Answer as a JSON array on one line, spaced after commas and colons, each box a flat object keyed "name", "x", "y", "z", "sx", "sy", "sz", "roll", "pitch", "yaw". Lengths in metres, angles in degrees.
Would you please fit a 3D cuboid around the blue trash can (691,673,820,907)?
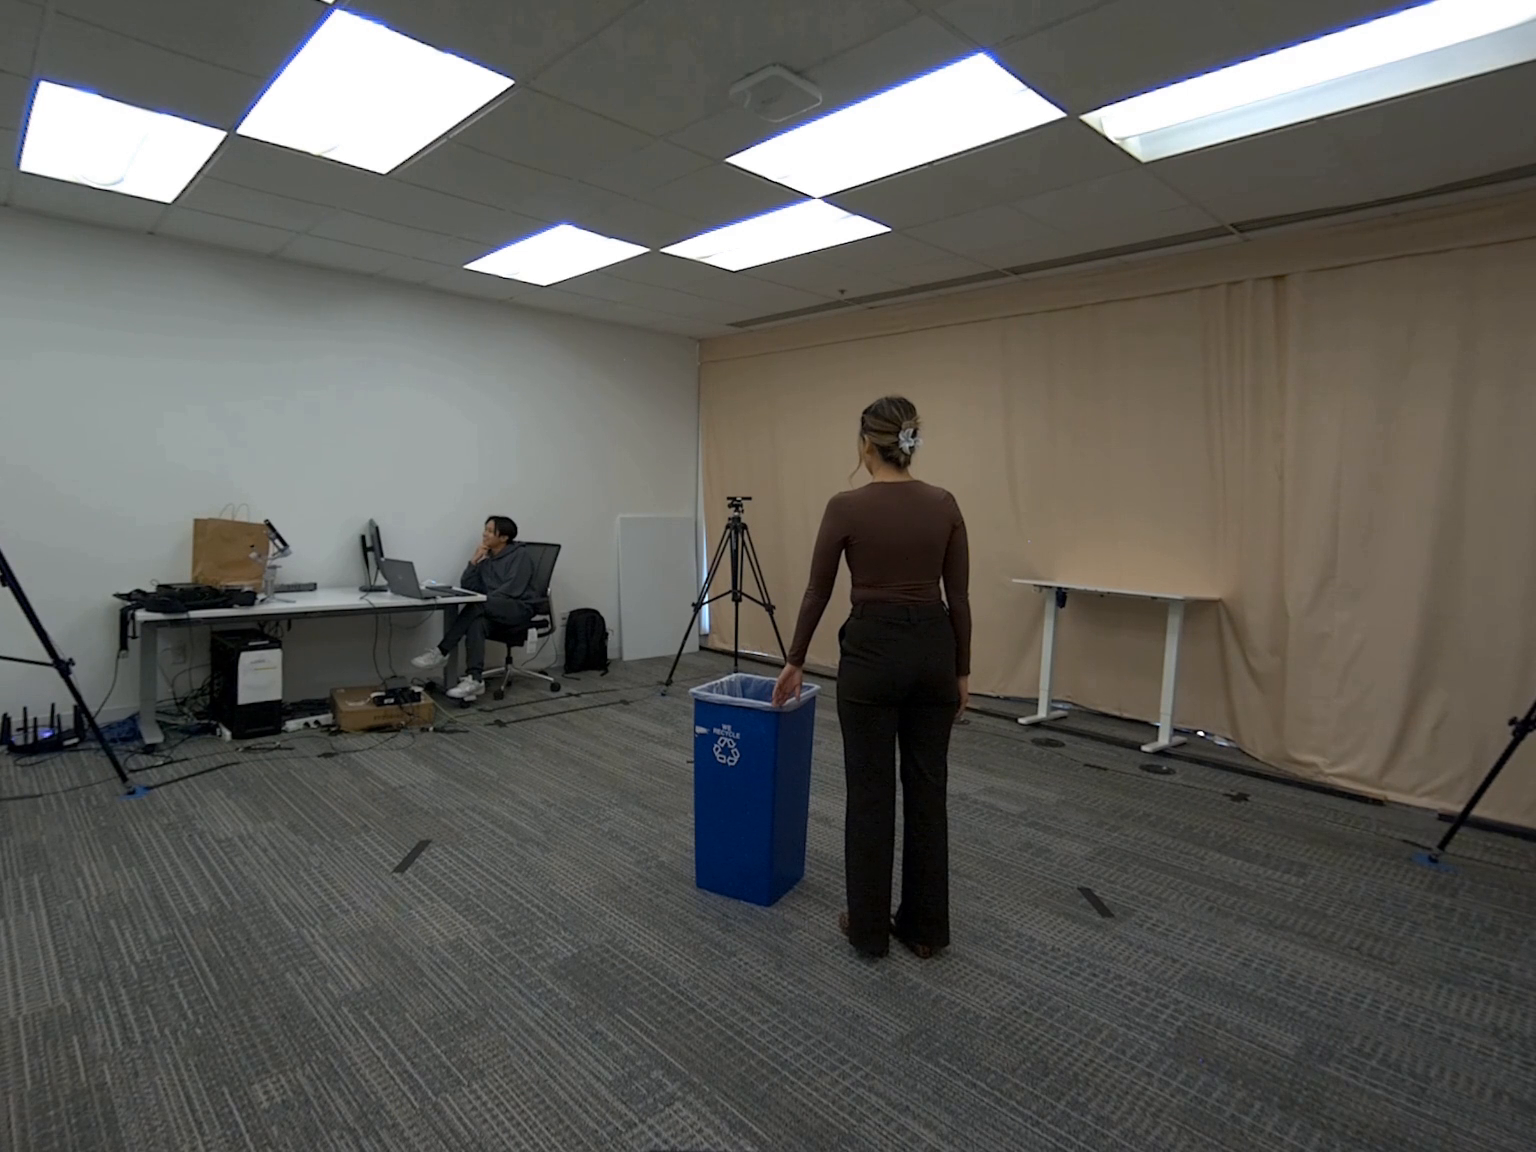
[{"name": "blue trash can", "x": -0.054, "y": 0.755, "z": 3.044, "sx": 0.382, "sy": 0.712, "sz": 0.371, "roll": 3, "pitch": 4, "yaw": 28}]
